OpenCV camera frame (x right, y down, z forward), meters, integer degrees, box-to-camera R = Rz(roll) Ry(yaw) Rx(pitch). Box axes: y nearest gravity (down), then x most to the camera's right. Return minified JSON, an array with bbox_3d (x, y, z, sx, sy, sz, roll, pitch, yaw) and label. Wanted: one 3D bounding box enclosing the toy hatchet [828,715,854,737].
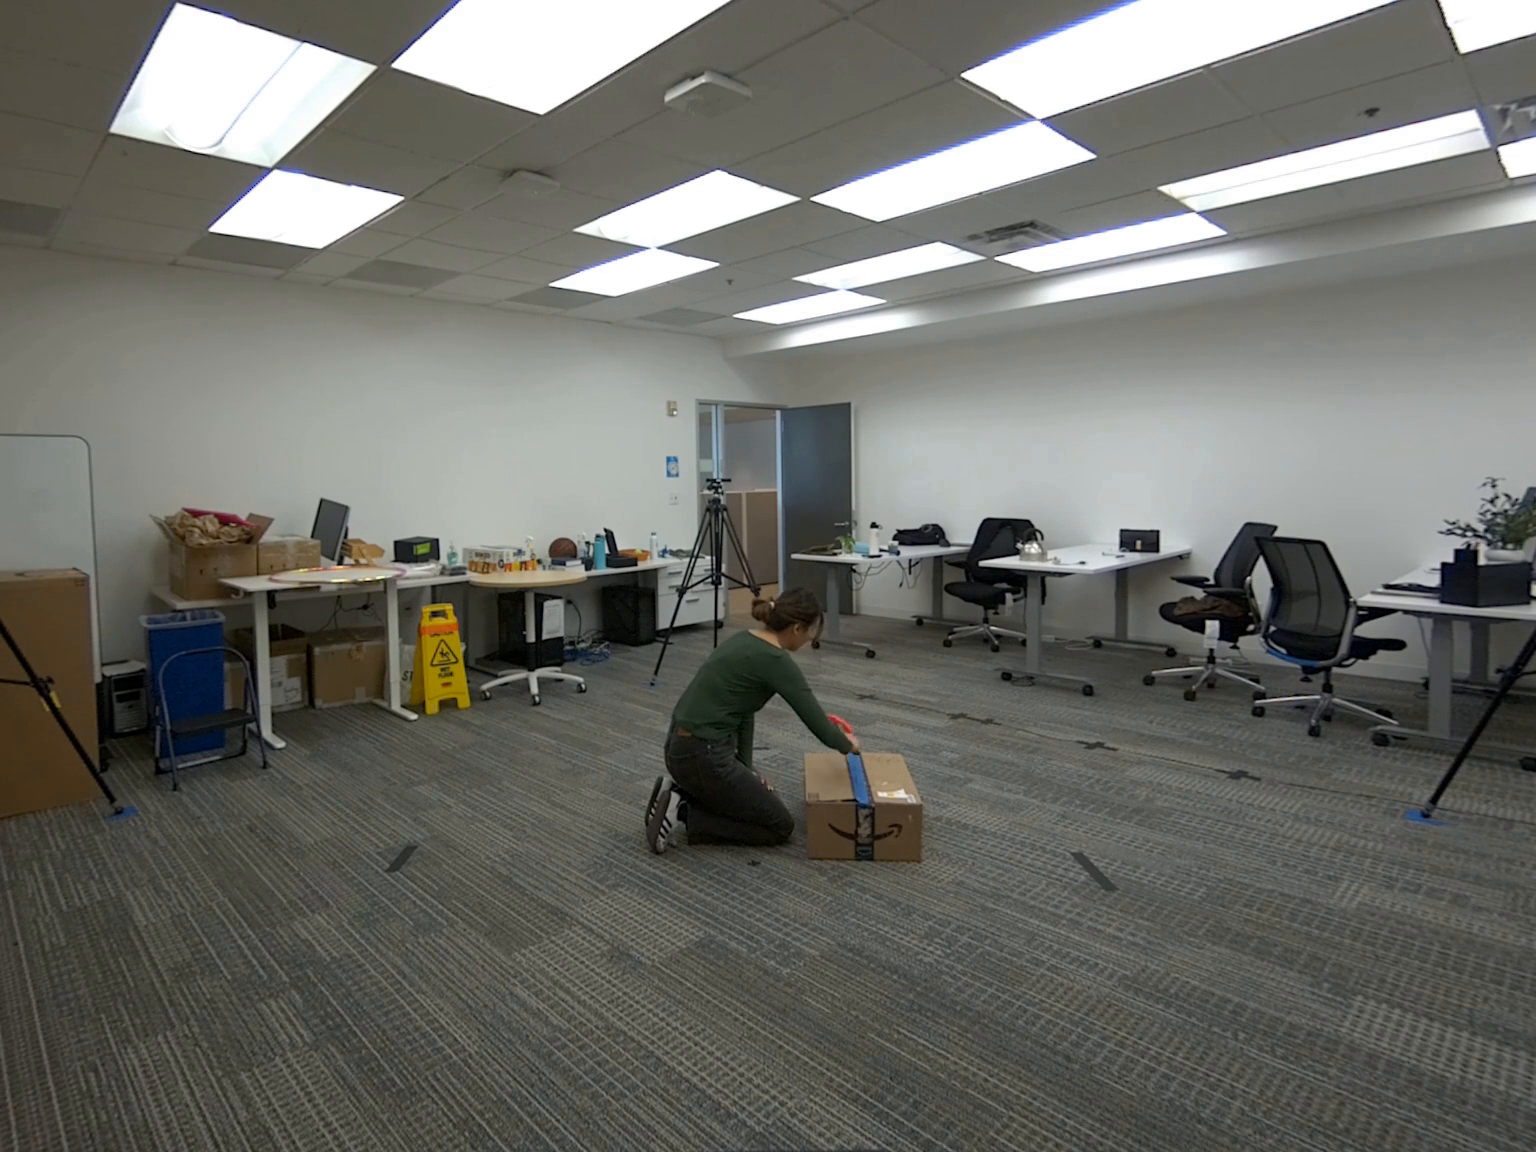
[{"bbox_3d":[0.341,0.668,3.485,0.127,0.029,0.278,29,13,-25],"label":"toy hatchet"}]
